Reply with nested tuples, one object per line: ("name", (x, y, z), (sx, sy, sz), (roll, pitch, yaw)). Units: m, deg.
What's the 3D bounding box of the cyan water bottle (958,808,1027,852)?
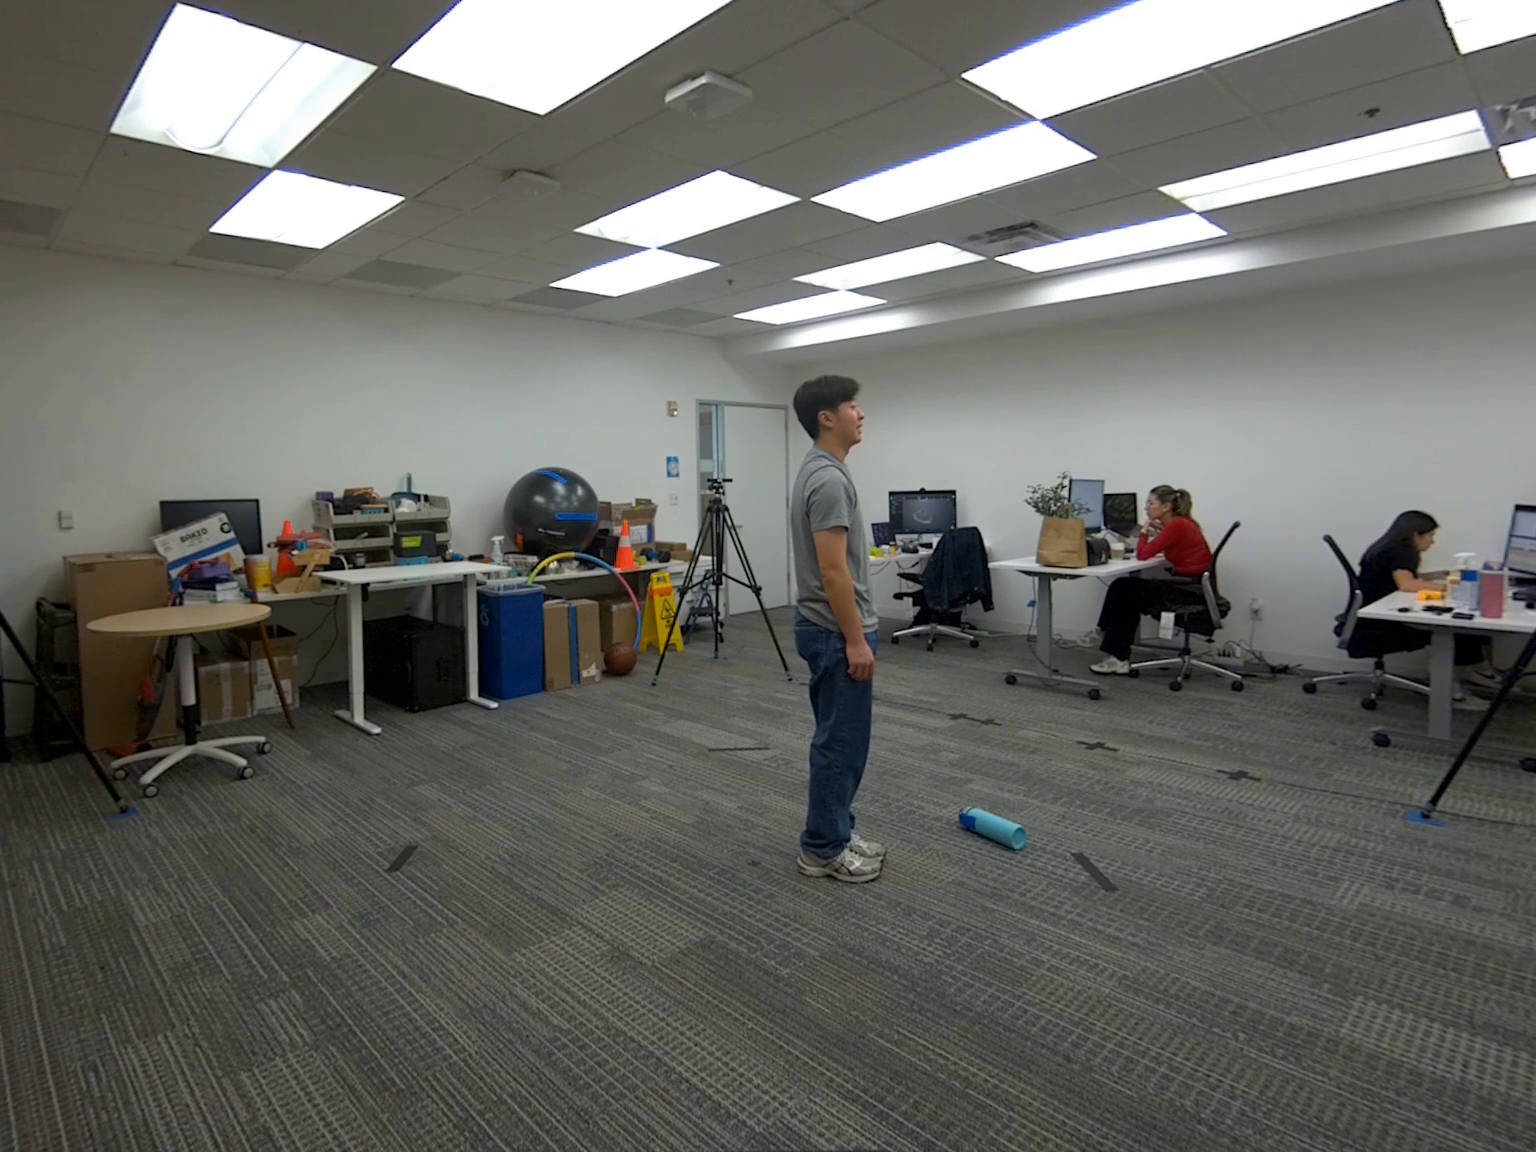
("cyan water bottle", (0.862, 0.962, 3.300), (0.090, 0.092, 0.291), (-4, 7, -33))
